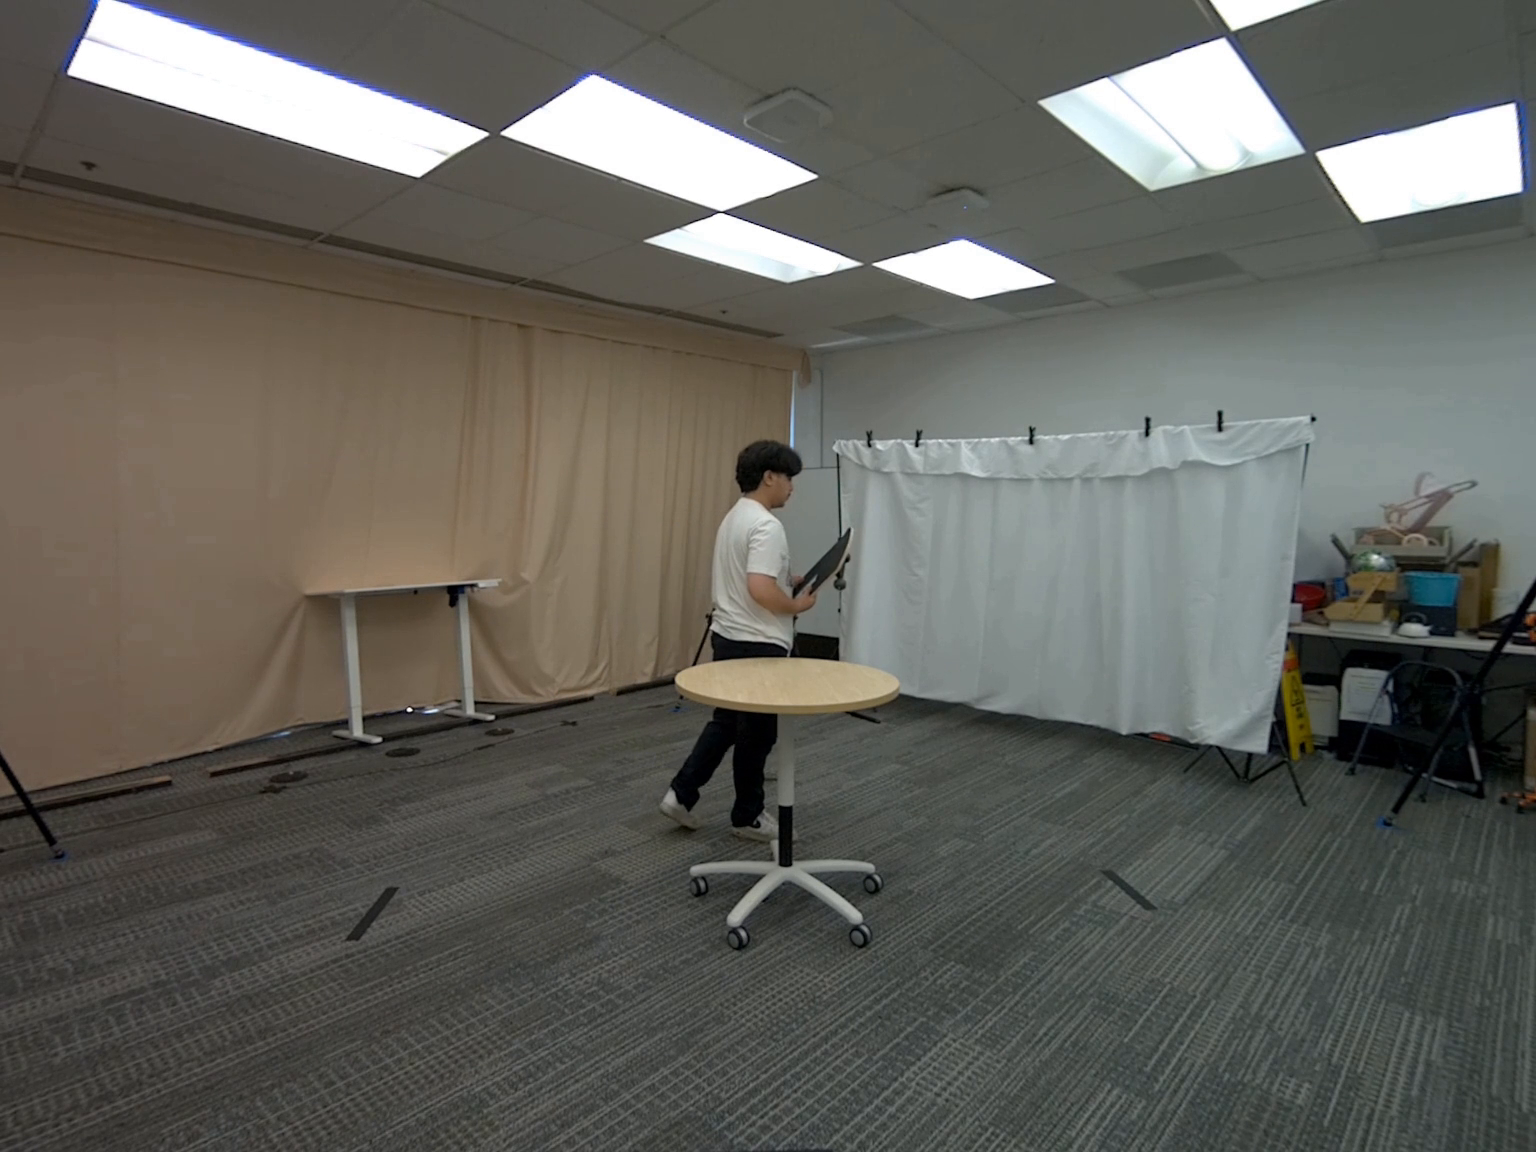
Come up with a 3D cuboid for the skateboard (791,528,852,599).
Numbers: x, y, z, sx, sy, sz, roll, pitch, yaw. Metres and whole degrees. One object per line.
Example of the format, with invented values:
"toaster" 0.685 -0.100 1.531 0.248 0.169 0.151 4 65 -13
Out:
"skateboard" 0.183 0.071 3.533 0.109 0.195 0.790 28 -43 -13
